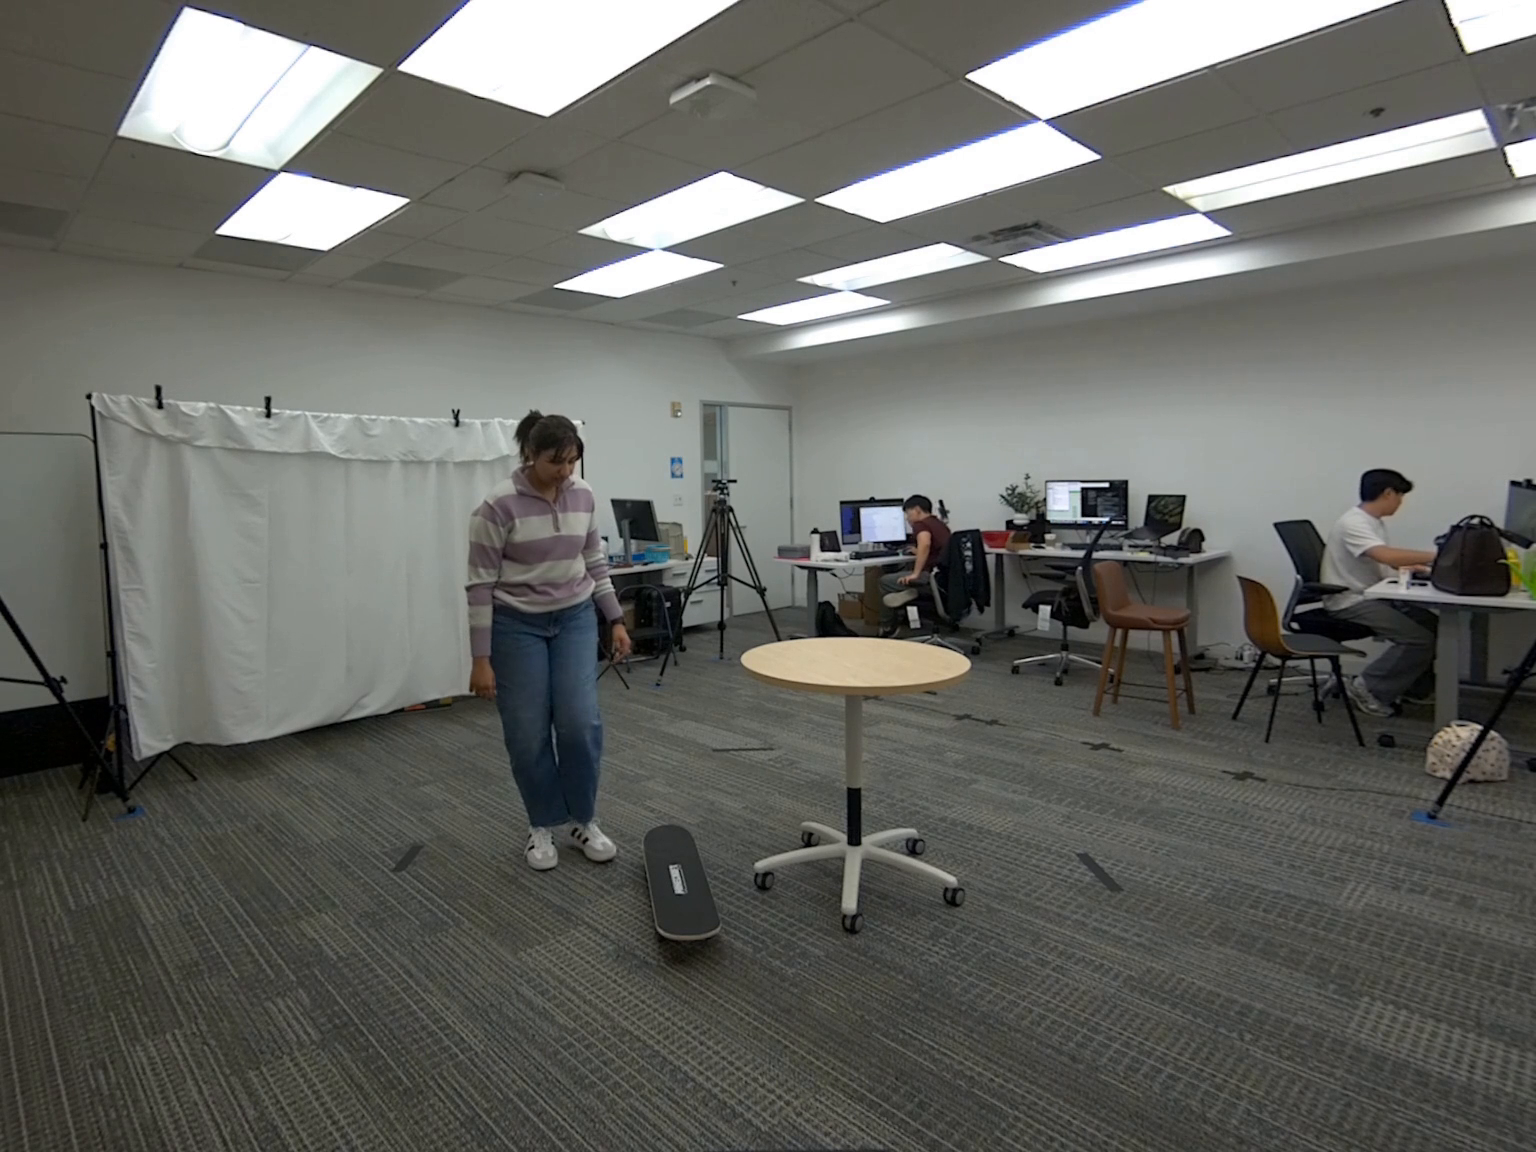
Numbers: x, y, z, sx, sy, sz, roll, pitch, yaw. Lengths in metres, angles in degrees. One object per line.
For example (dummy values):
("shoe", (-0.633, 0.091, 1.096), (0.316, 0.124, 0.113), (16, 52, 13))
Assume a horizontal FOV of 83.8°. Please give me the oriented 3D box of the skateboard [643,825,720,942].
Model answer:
("skateboard", (-0.285, 1.030, 2.811), (0.191, 0.110, 0.797), (-2, 6, -11))
